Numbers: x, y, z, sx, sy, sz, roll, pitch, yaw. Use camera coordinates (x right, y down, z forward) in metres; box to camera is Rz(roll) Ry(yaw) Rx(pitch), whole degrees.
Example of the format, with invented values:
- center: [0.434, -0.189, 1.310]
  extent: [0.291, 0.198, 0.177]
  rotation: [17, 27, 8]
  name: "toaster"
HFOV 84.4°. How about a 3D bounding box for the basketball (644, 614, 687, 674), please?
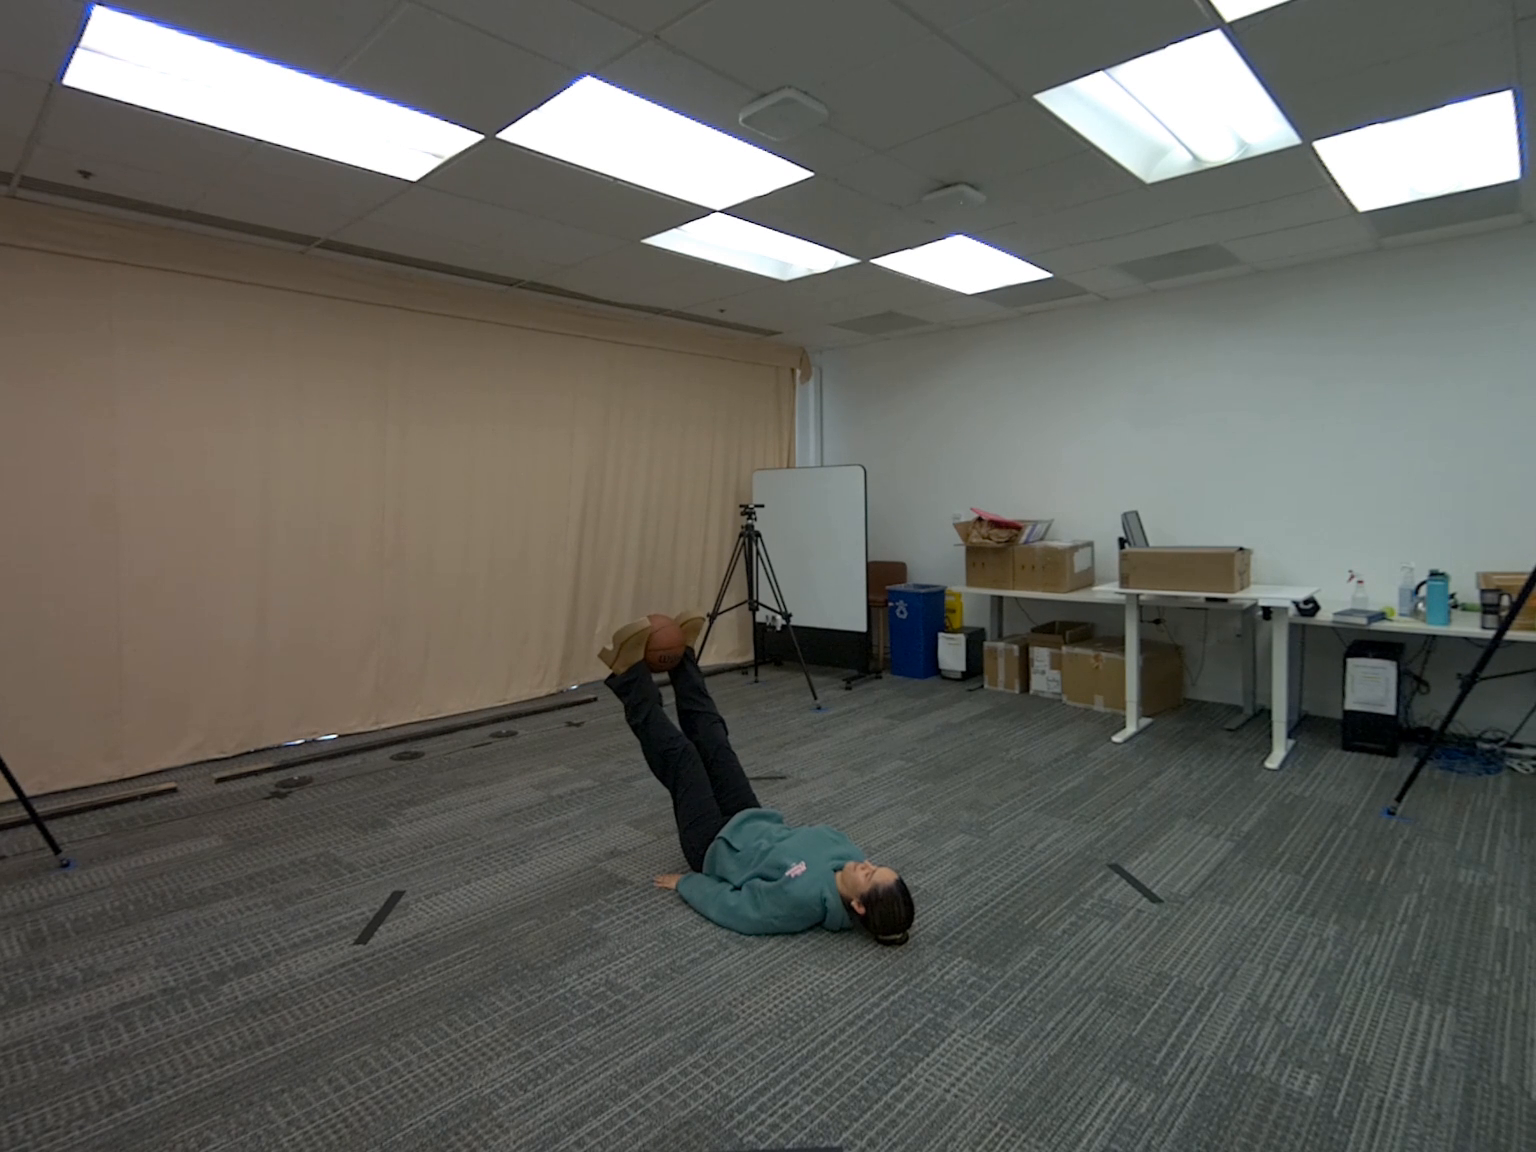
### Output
- center: [-0.450, 0.275, 3.371]
  extent: [0.236, 0.235, 0.237]
  rotation: [0, 4, -2]
  name: "basketball"
